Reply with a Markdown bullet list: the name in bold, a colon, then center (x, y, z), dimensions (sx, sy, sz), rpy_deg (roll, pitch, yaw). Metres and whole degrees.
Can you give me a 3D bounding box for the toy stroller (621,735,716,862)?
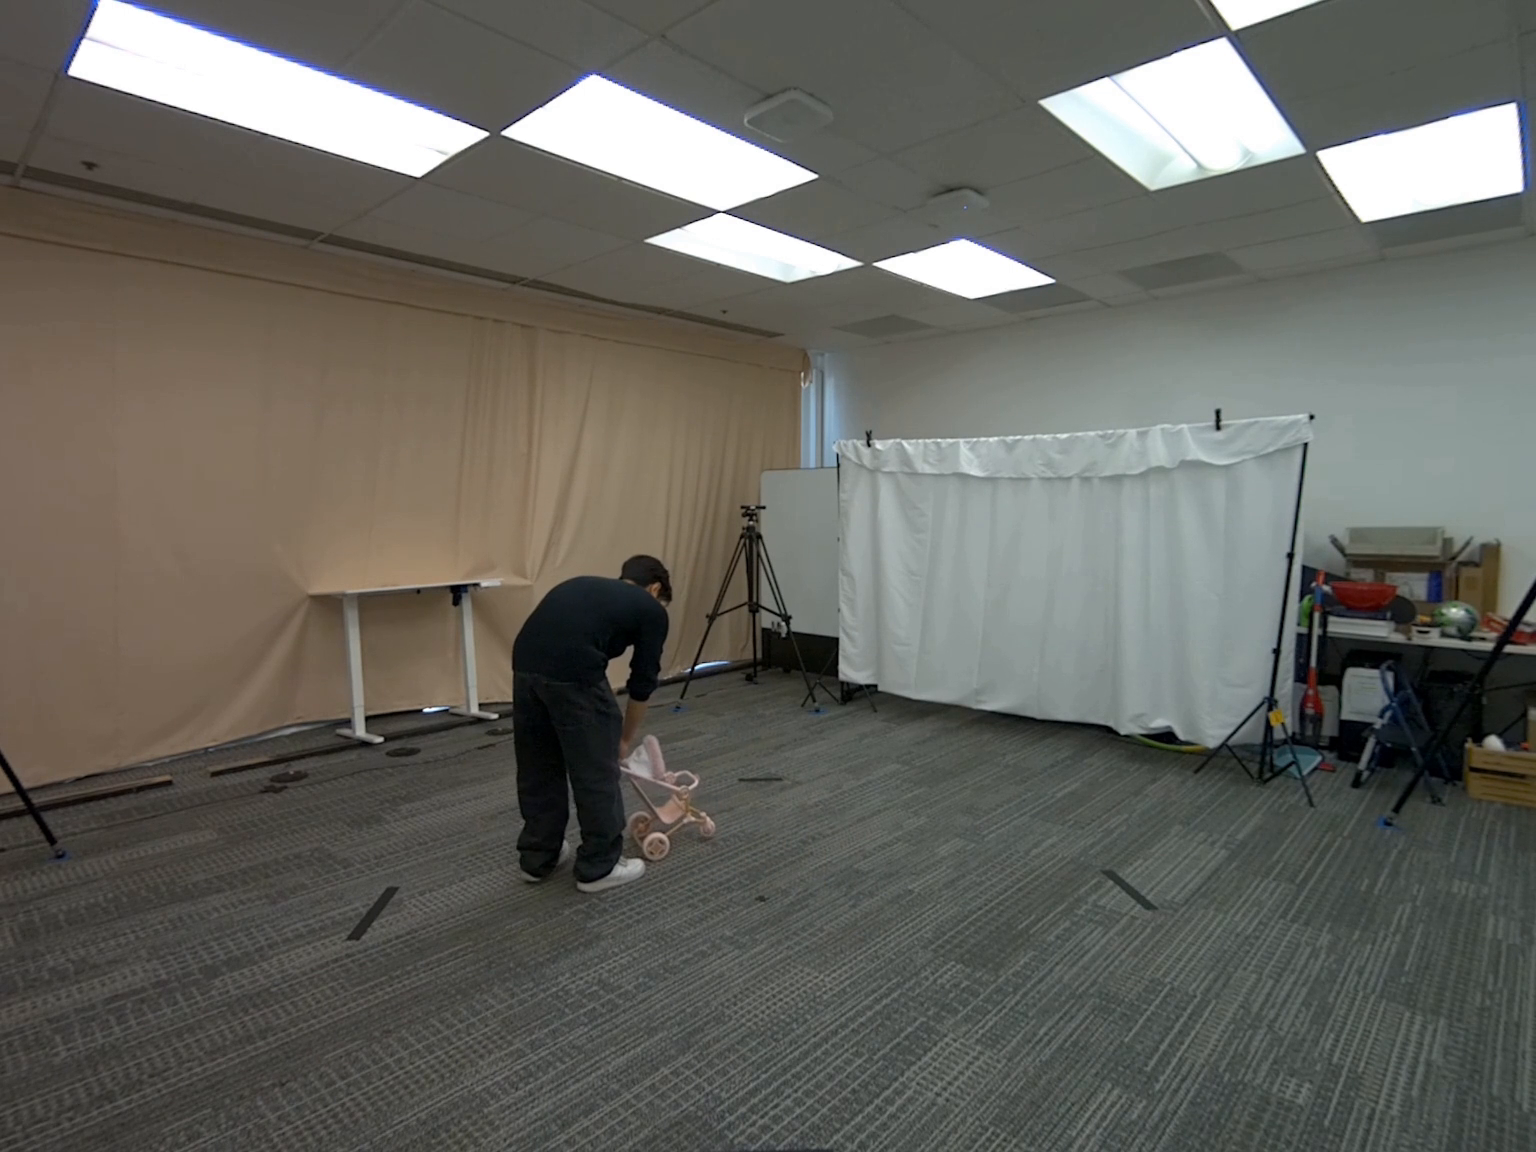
- **toy stroller**: center (-0.447, 0.885, 3.434), dimensions (0.338, 0.530, 0.287), rpy_deg (-23, 9, -15)
